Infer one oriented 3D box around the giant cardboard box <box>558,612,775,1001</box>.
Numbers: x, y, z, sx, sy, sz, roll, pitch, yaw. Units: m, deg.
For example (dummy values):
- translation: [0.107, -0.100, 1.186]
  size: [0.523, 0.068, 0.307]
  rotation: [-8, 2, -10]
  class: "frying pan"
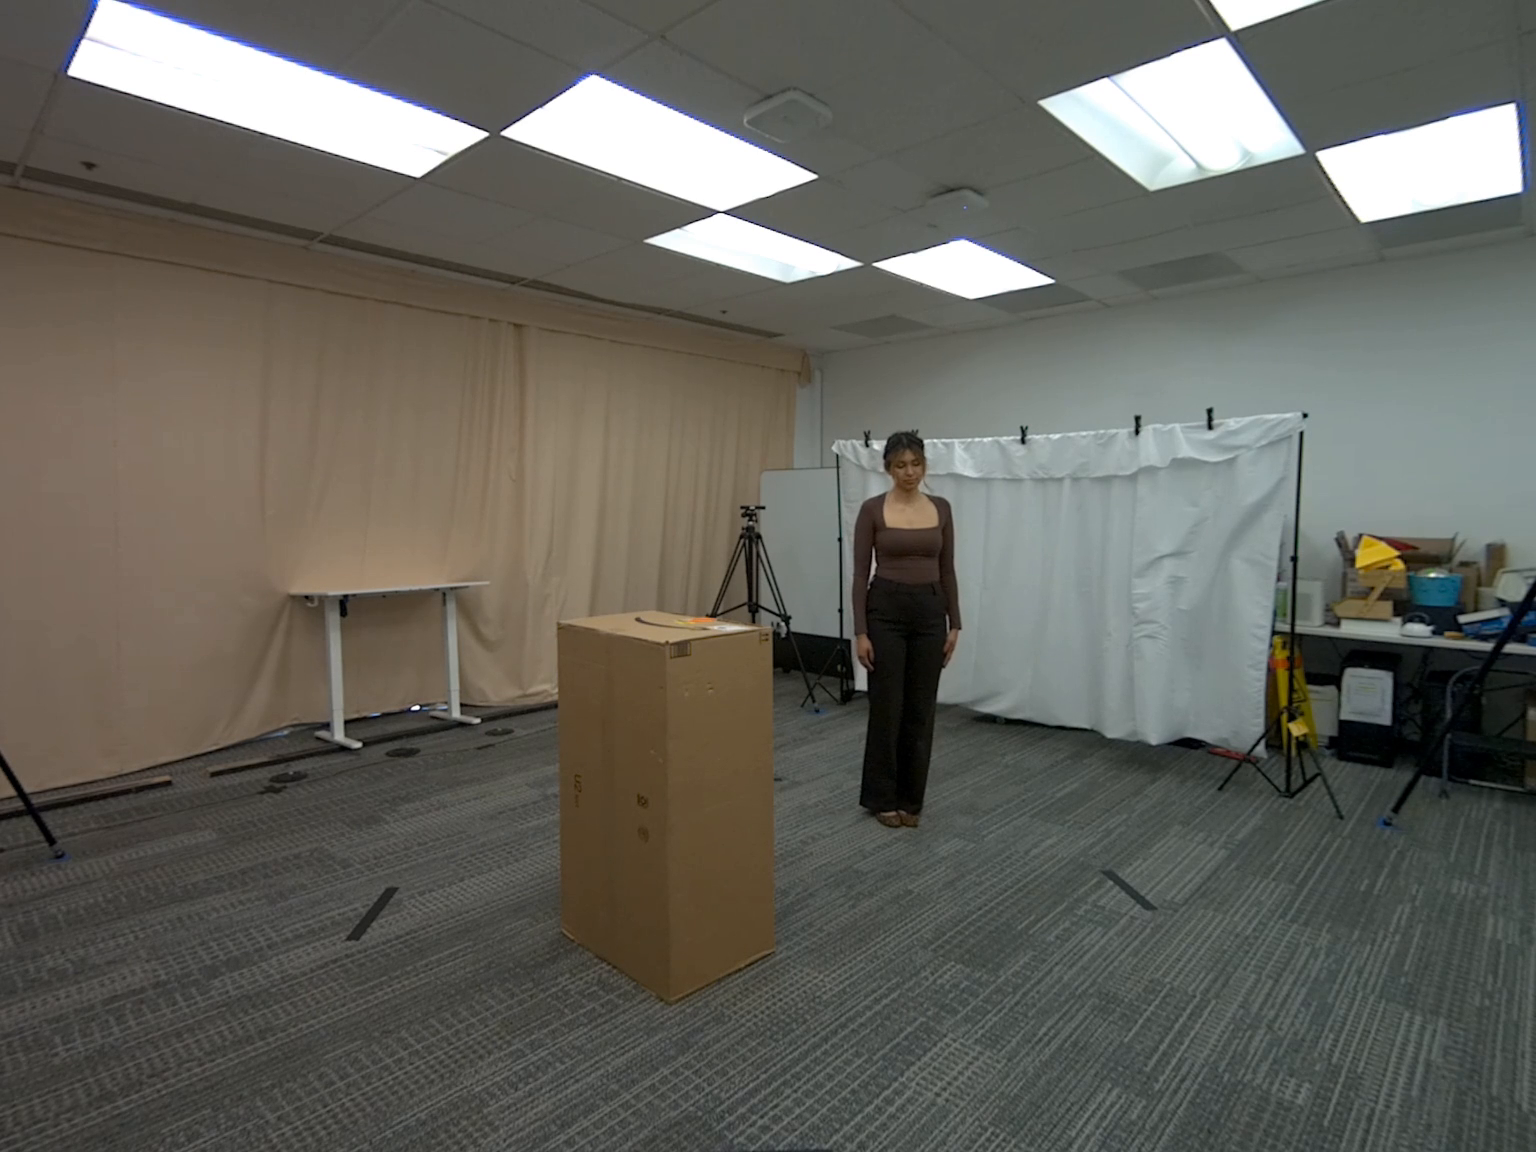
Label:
- translation: [-0.329, 0.662, 2.678]
  size: [0.433, 1.025, 0.603]
  rotation: [-2, 3, -43]
  class: "giant cardboard box"
